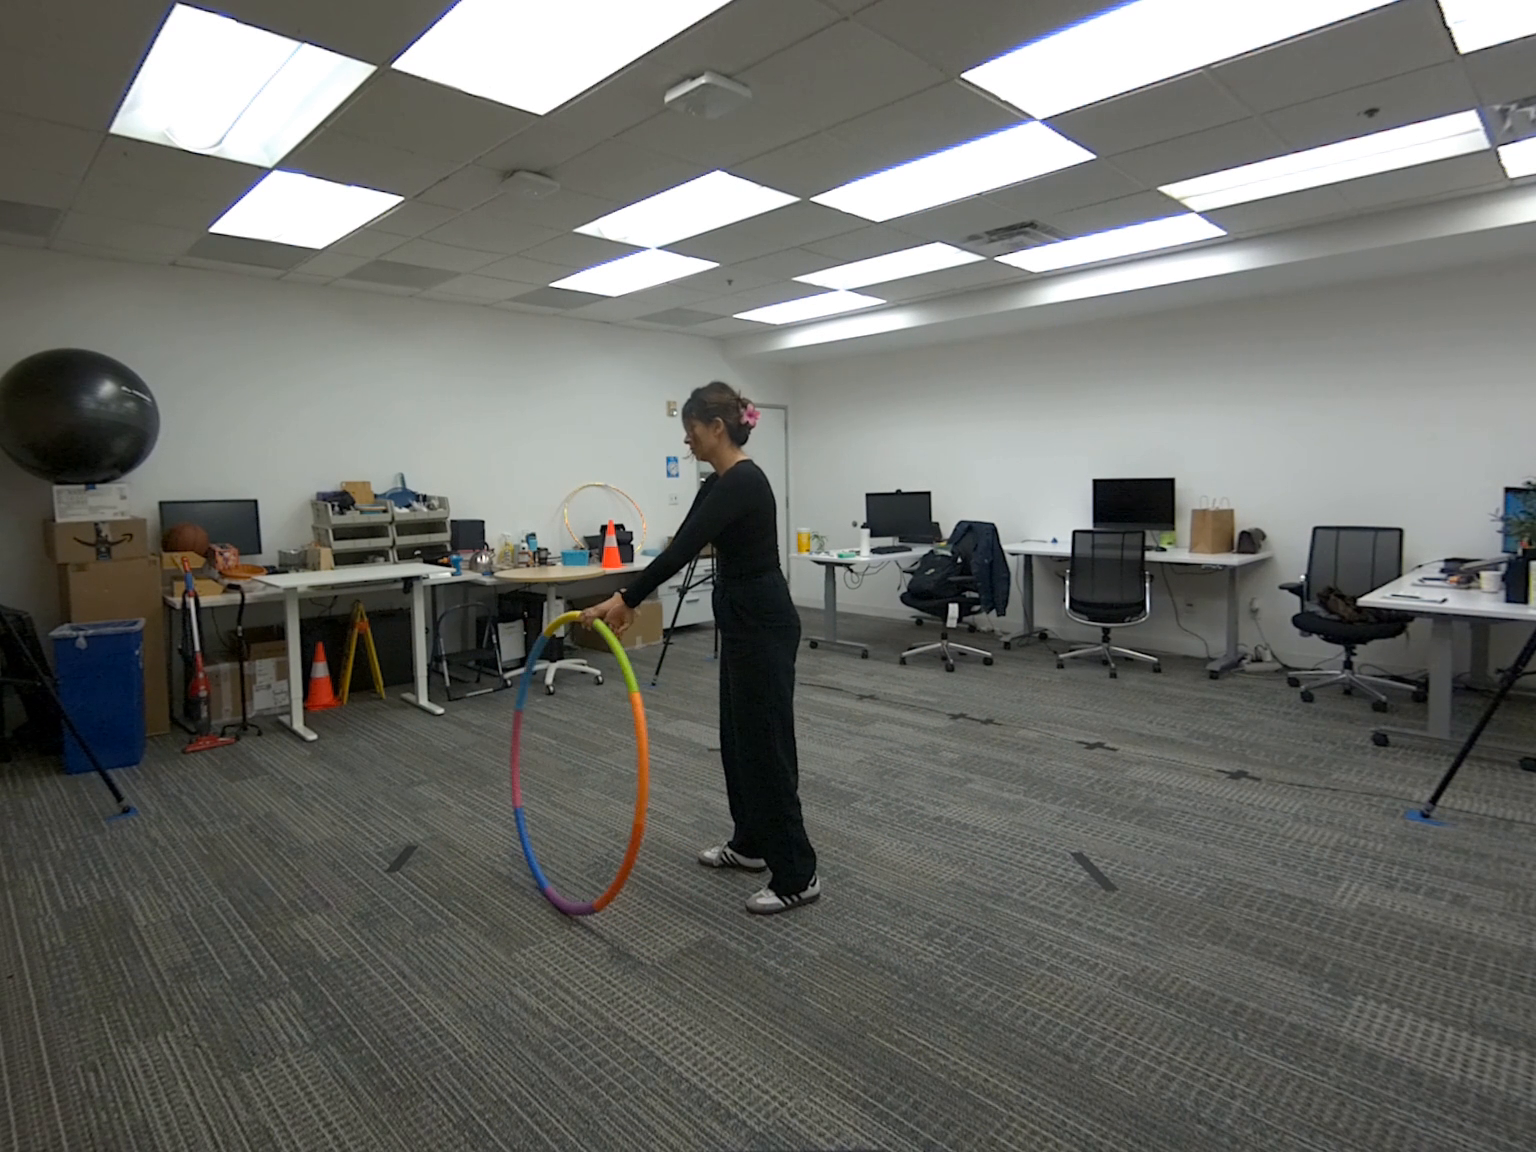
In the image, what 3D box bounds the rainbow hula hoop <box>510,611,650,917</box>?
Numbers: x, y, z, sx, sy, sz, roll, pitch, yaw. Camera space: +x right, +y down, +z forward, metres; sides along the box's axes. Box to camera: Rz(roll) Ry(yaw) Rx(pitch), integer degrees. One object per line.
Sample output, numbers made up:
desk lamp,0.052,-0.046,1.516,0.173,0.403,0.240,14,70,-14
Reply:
rainbow hula hoop,-0.655,0.607,2.852,0.034,0.979,1.008,7,-1,-37
